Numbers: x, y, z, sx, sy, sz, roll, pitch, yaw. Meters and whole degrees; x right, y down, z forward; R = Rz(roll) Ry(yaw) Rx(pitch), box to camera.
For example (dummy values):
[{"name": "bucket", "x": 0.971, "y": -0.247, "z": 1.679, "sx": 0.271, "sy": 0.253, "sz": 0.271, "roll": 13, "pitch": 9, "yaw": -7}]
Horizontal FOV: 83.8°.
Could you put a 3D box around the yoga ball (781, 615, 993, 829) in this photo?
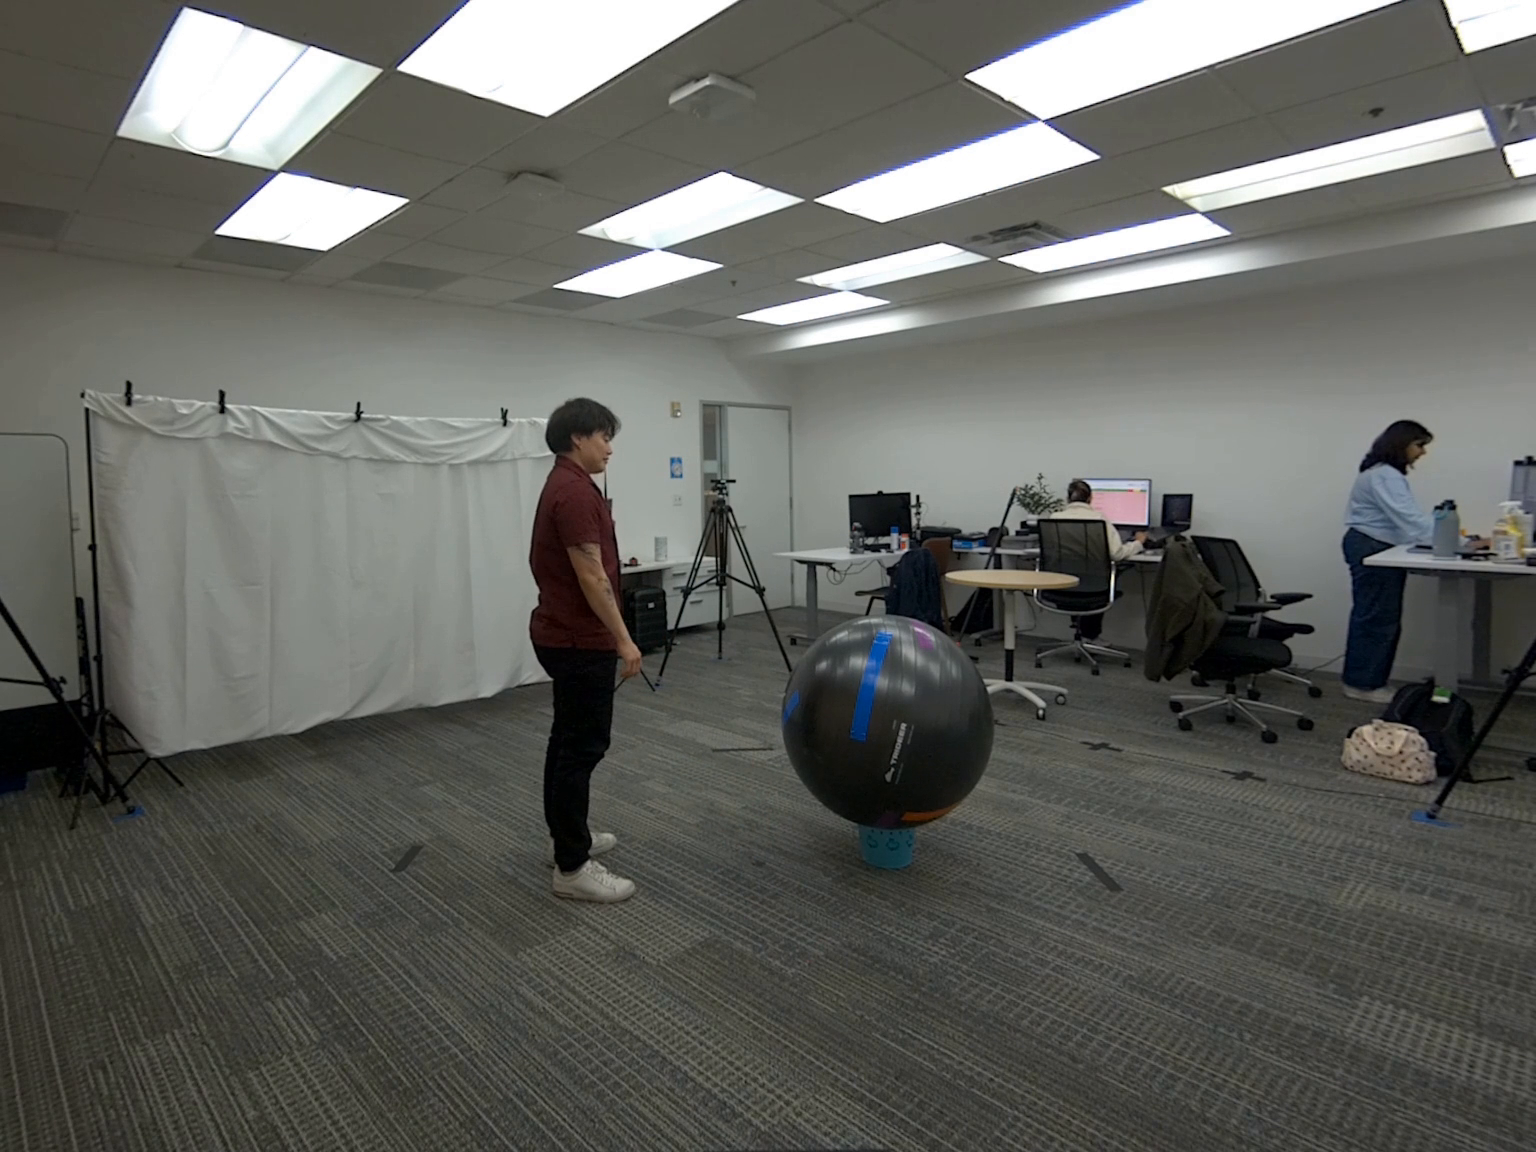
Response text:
[{"name": "yoga ball", "x": 0.433, "y": 0.524, "z": 3.120, "sx": 0.757, "sy": 0.755, "sz": 0.762, "roll": -1, "pitch": 5, "yaw": -2}]
